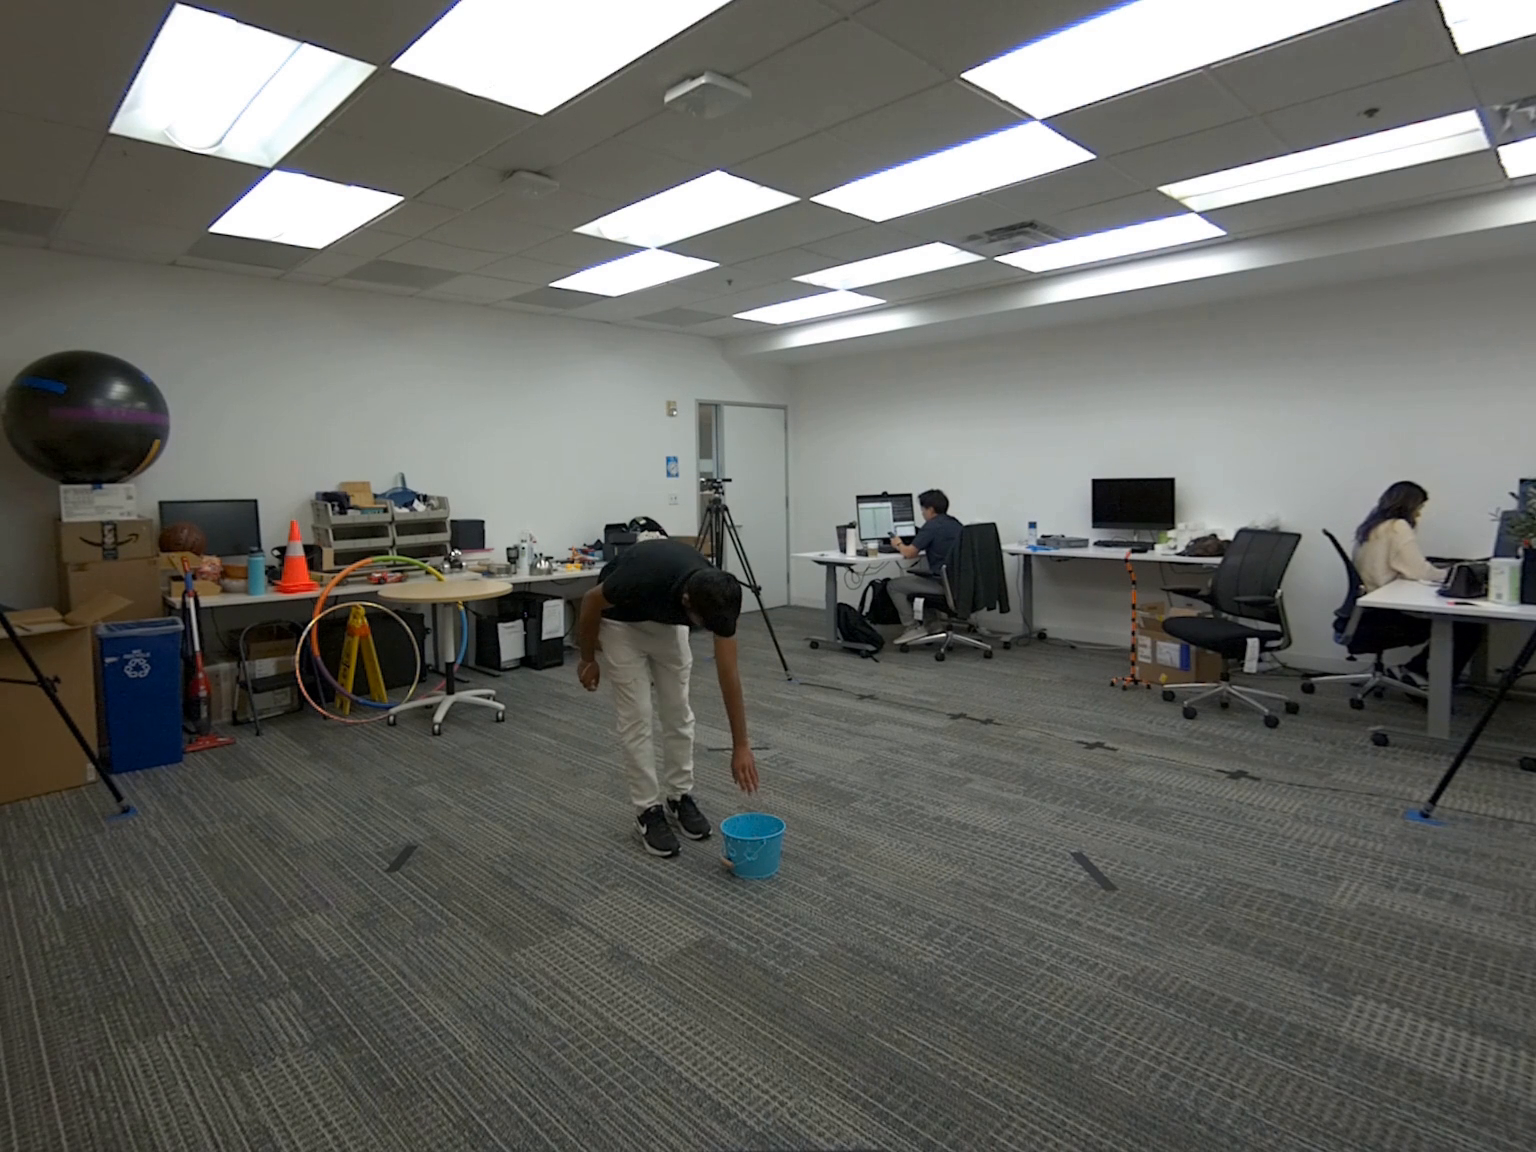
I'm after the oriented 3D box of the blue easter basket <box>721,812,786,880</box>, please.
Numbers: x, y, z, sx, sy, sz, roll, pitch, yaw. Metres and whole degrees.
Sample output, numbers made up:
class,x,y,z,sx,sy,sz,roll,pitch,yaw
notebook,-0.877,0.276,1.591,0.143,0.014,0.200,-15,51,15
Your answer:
class,x,y,z,sx,sy,sz,roll,pitch,yaw
blue easter basket,-0.054,0.966,3.074,0.243,0.155,0.245,-1,5,-2
